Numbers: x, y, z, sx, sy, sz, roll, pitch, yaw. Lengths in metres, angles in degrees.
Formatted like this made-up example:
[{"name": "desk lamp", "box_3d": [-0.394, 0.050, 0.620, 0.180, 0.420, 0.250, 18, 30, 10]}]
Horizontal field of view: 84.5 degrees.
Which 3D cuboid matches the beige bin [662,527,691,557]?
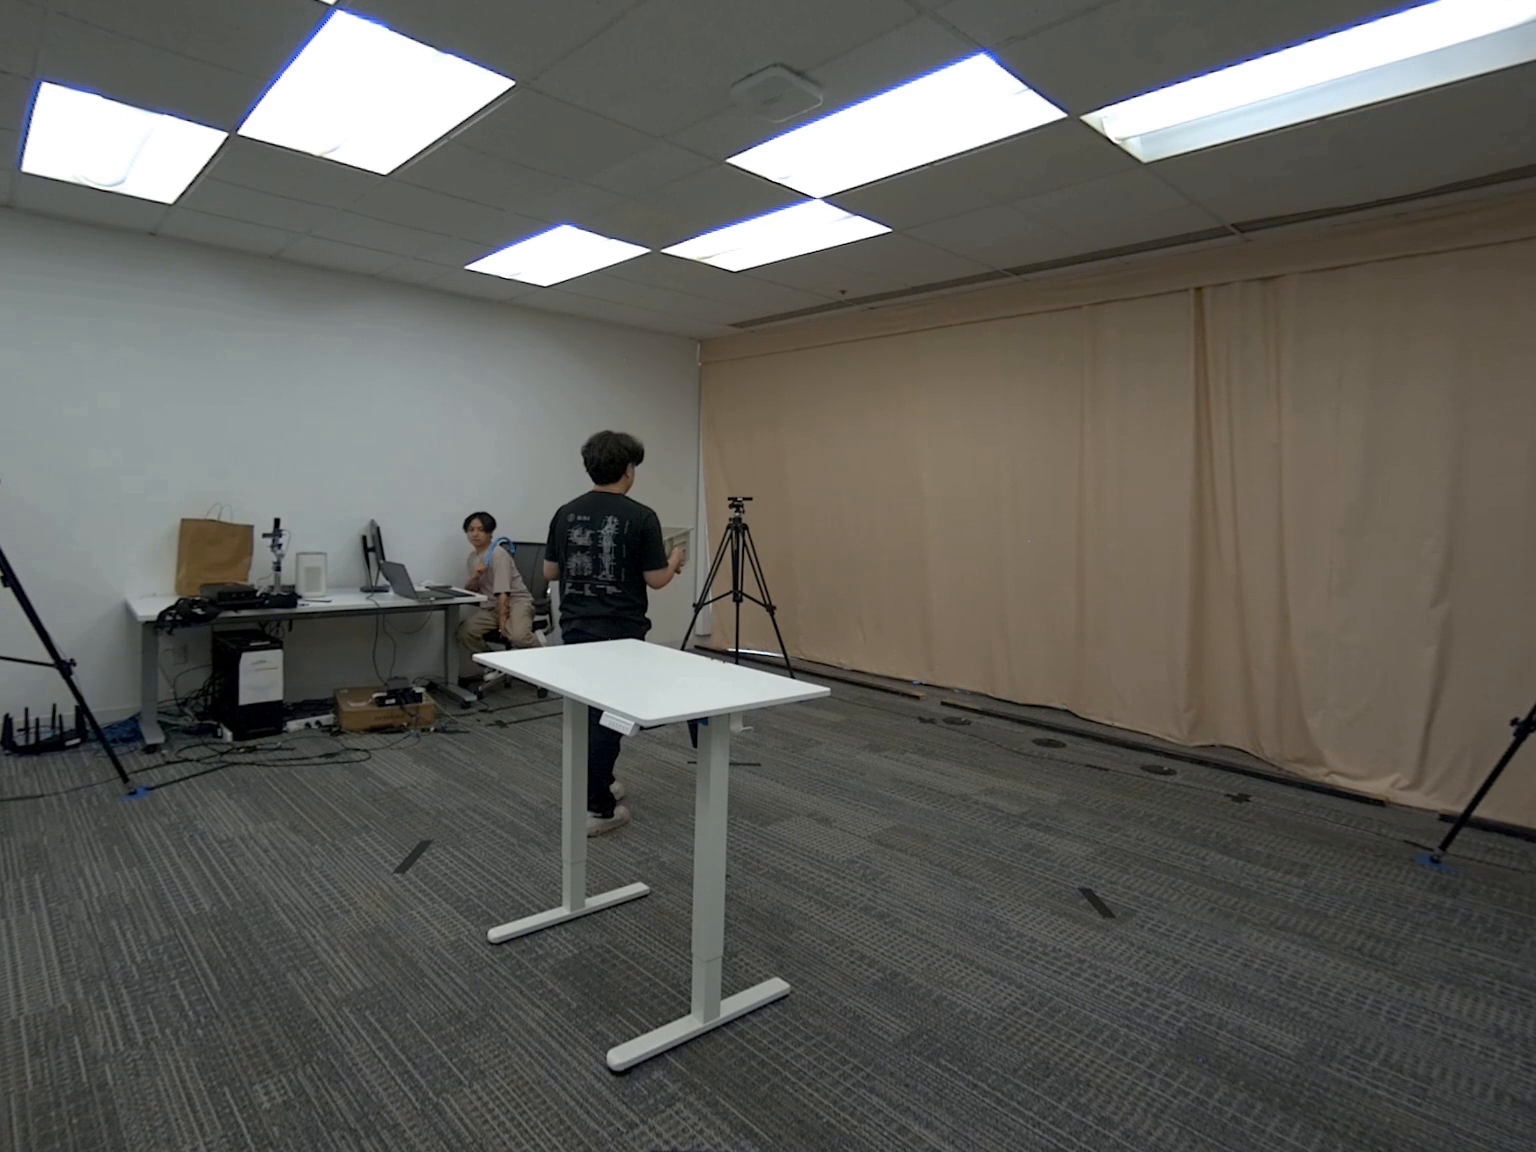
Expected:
[{"name": "beige bin", "box_3d": [-0.608, -0.130, 3.863, 0.428, 0.188, 0.373, 3, 4, 15]}]
